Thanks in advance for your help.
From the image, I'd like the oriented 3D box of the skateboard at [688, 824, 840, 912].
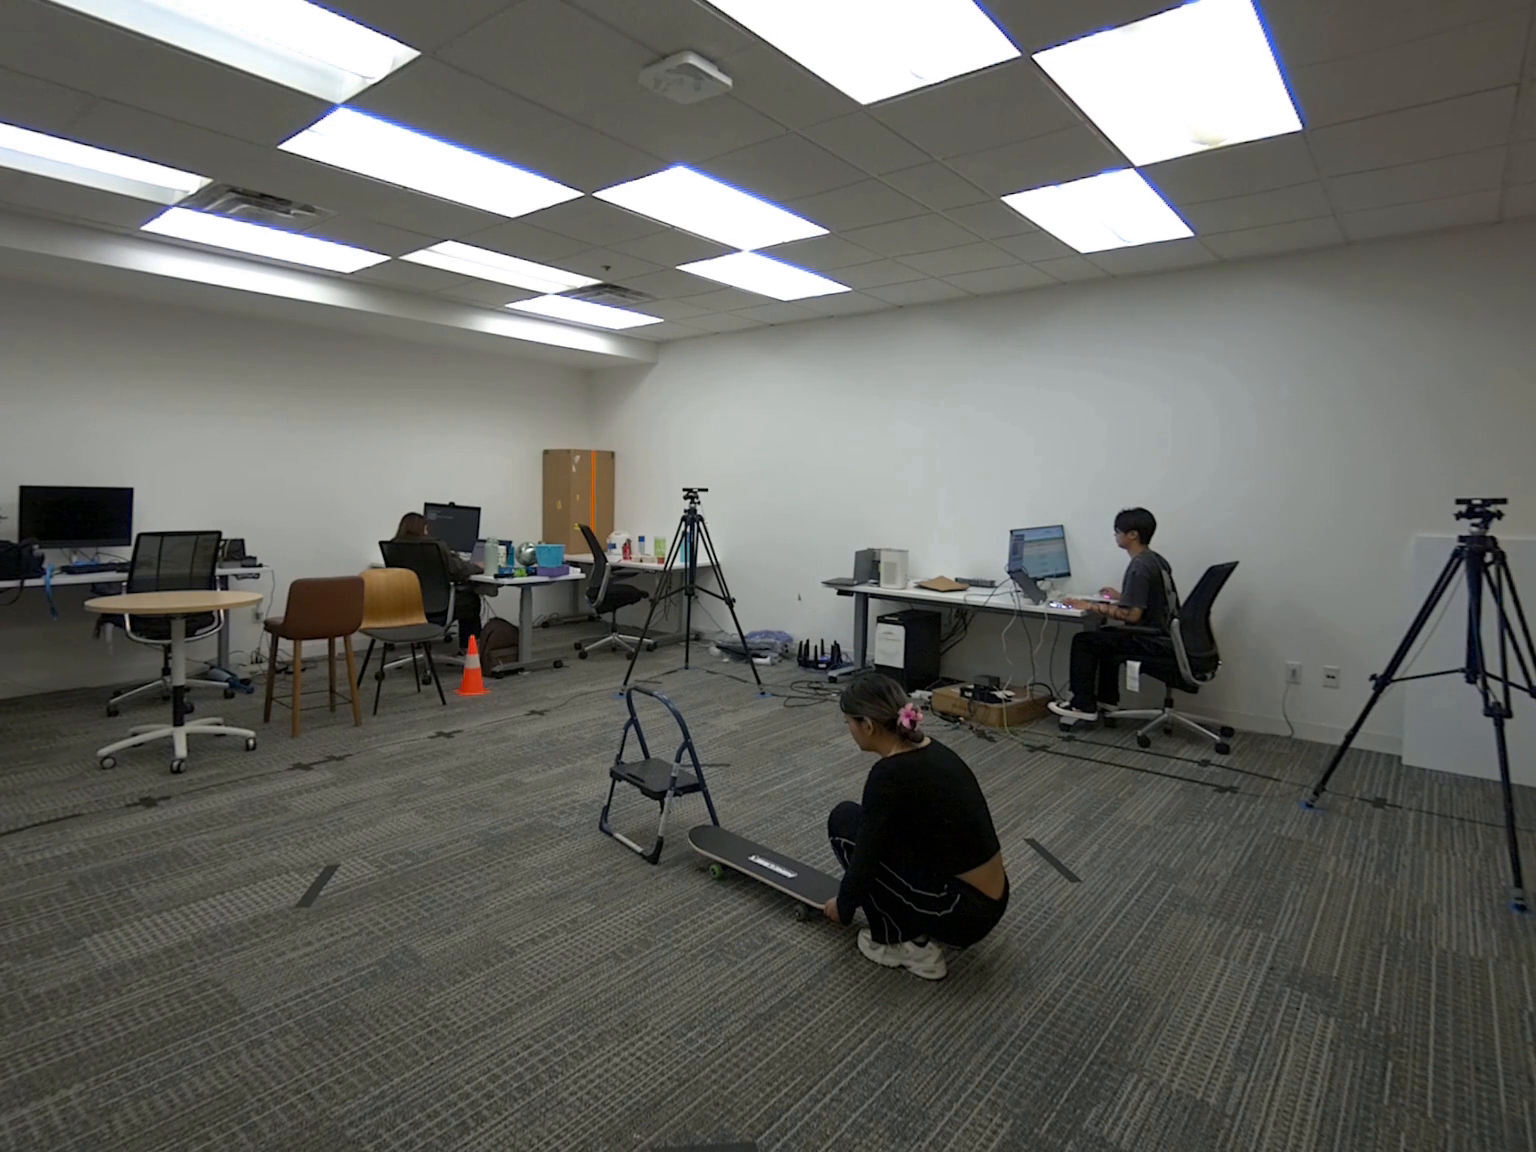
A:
[{"bbox_3d":[0.006,1.037,2.945,0.188,0.110,0.813,-4,9,-45],"label":"skateboard"}]
